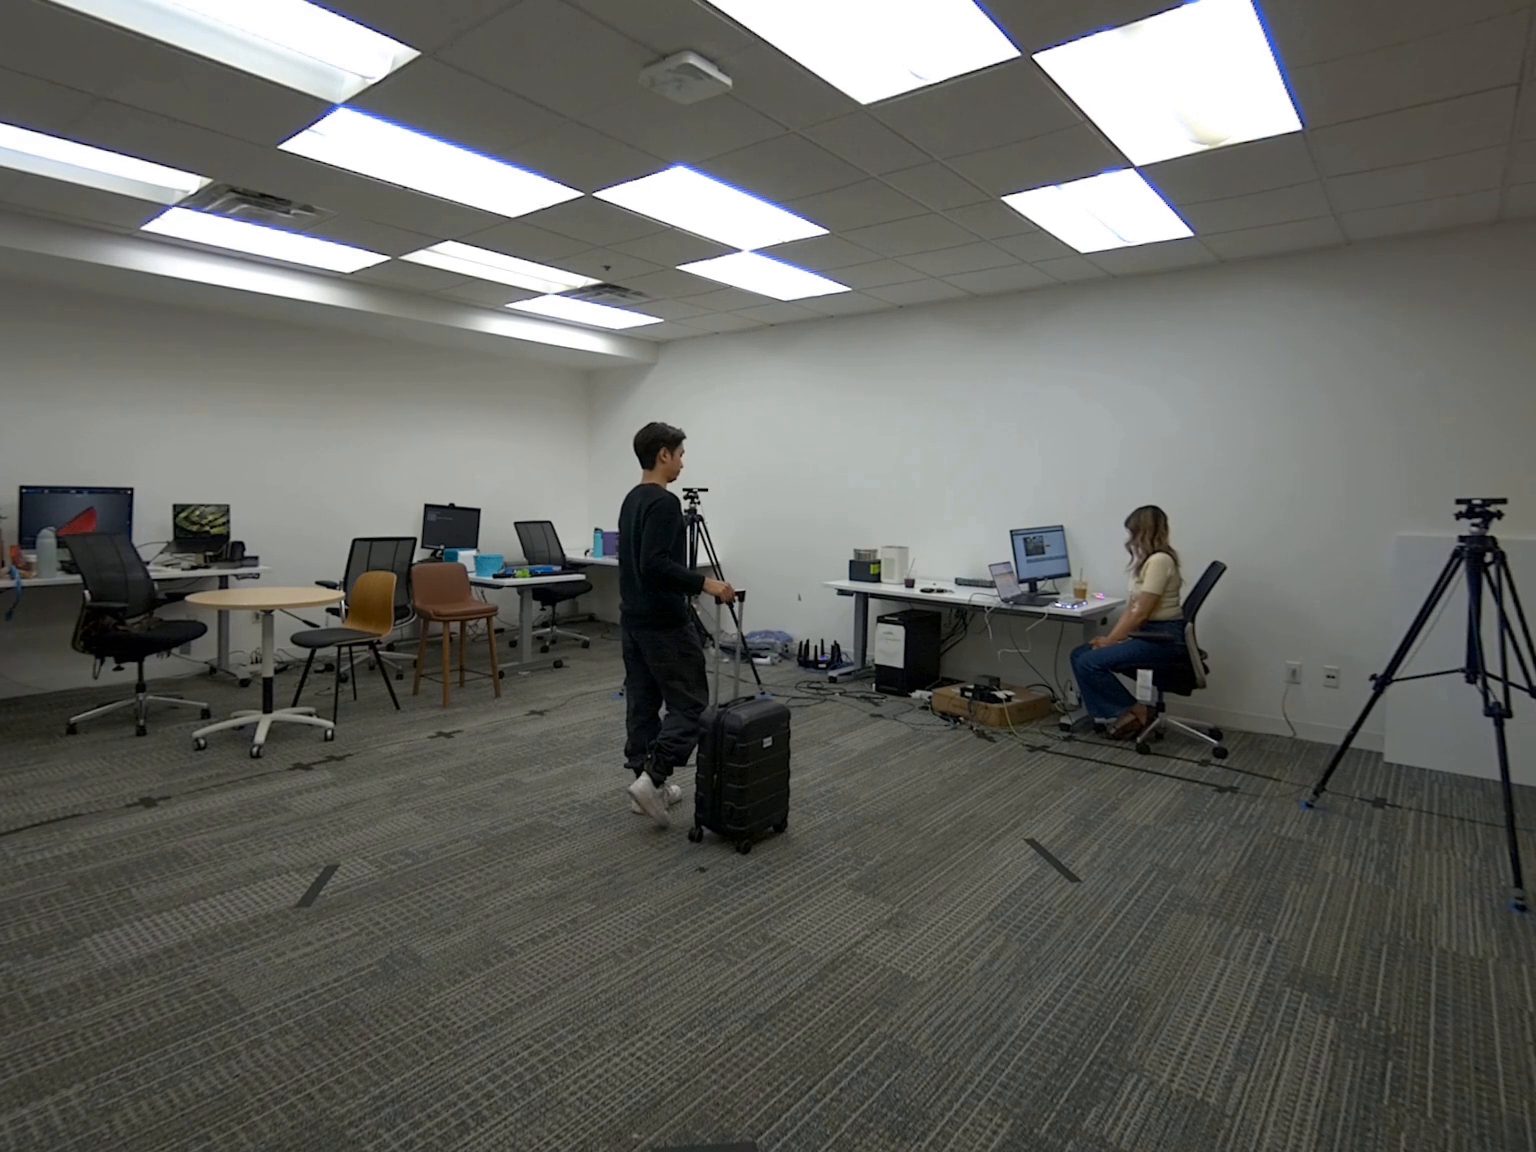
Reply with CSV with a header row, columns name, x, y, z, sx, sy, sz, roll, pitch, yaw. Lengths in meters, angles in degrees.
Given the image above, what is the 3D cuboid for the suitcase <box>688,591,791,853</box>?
name,x,y,z,sx,sy,sz,roll,pitch,yaw
suitcase,-0.092,0.567,3.396,0.266,0.975,0.372,7,5,37
